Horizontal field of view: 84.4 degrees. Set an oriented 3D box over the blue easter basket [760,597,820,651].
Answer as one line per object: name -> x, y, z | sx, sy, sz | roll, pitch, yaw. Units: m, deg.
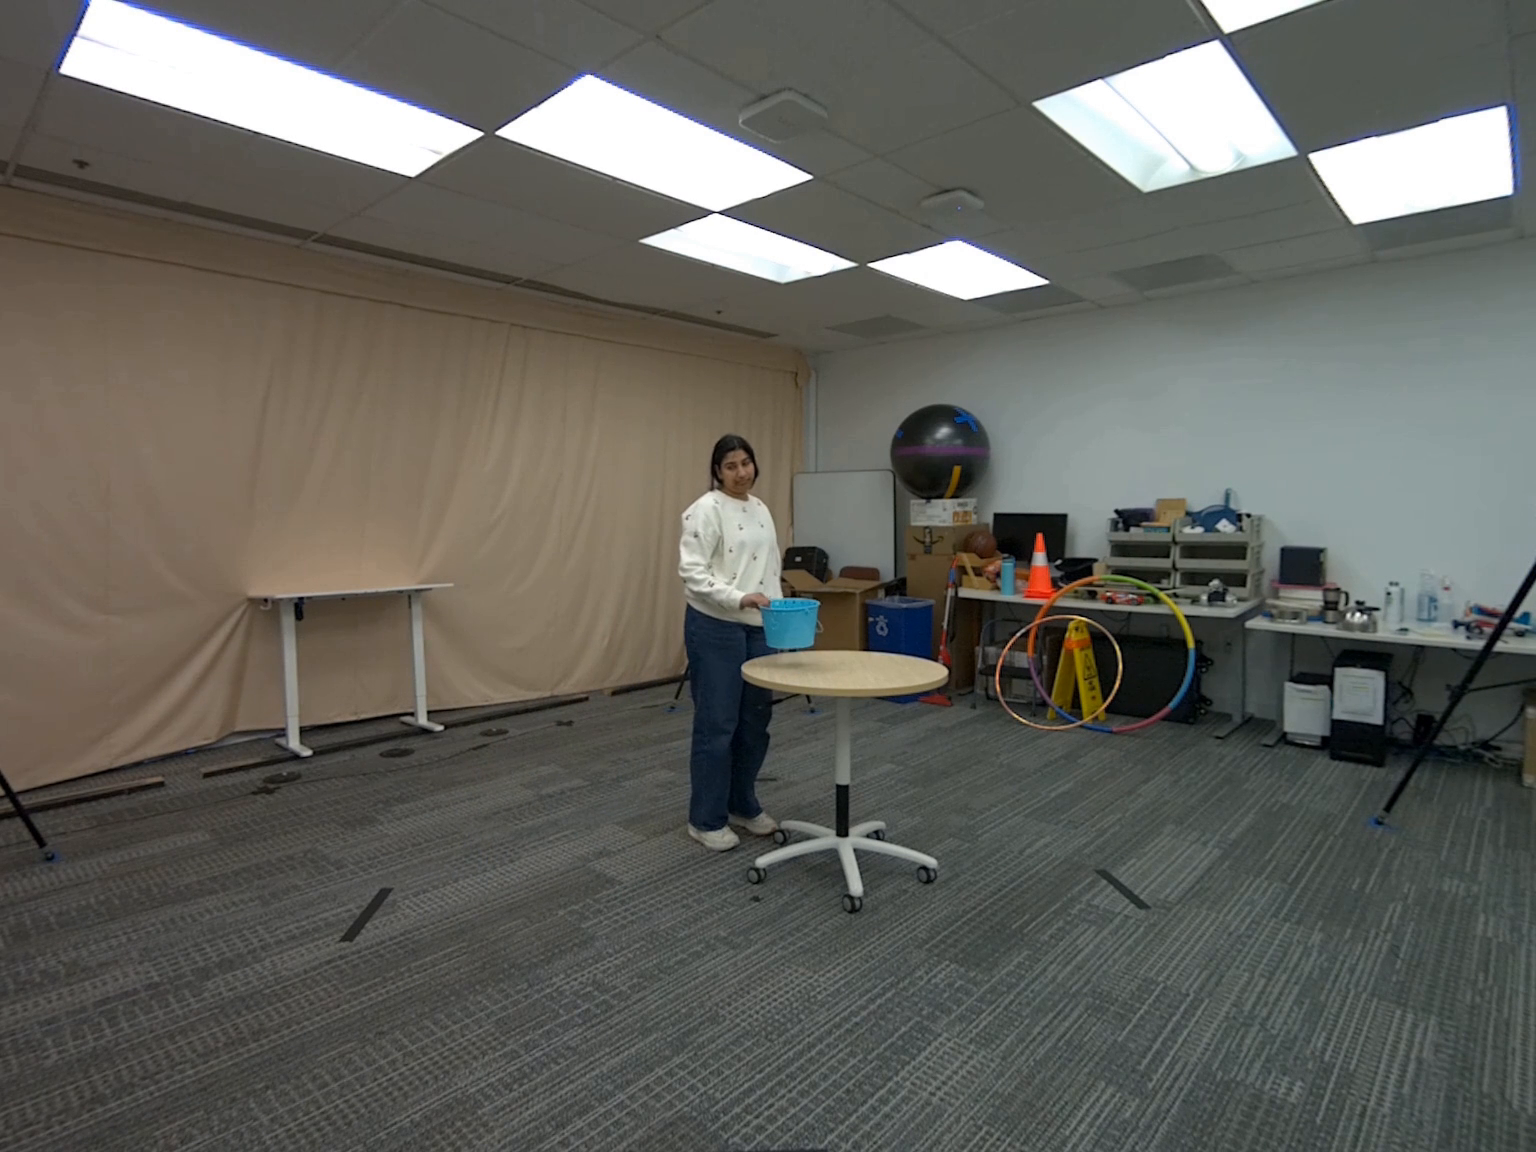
blue easter basket -> 0.086, 0.185, 3.180 | 0.243, 0.155, 0.245 | -2, 8, -2
